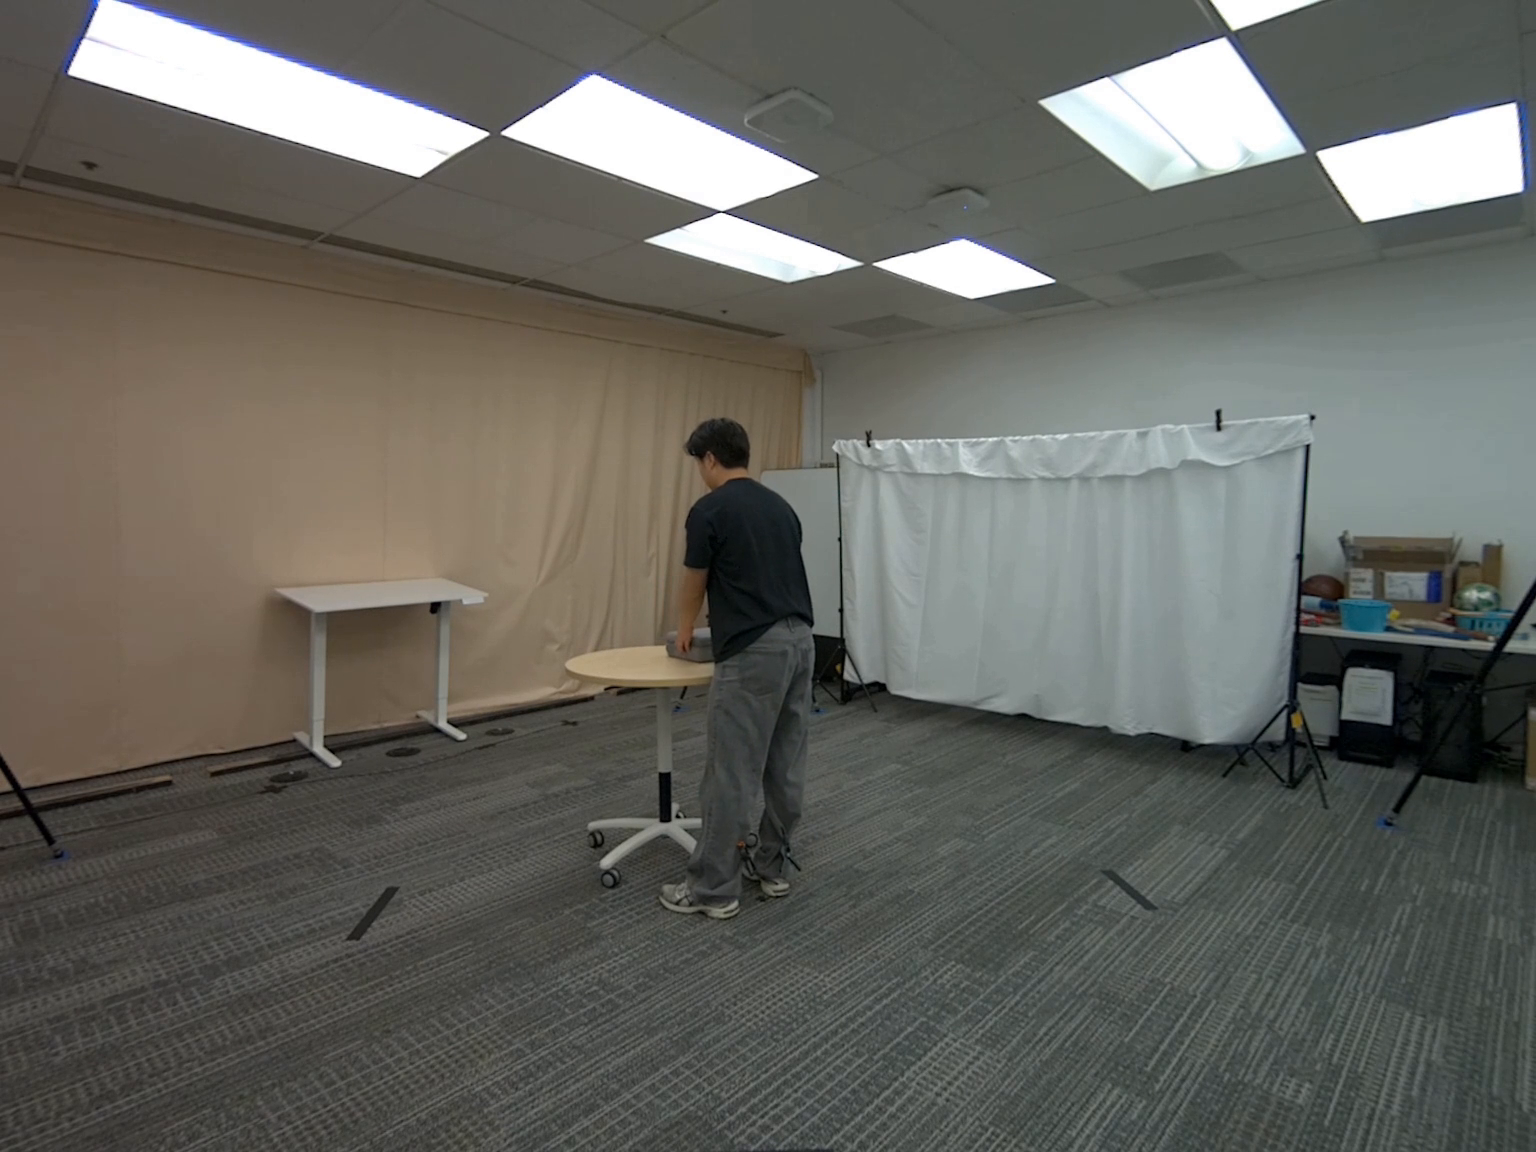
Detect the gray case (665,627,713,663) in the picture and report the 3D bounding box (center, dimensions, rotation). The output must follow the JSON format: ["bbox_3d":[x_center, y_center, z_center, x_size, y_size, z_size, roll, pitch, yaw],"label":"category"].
[{"bbox_3d":[-0.261,0.276,3.421,0.255,0.103,0.296,-5,5,-39],"label":"gray case"}]
